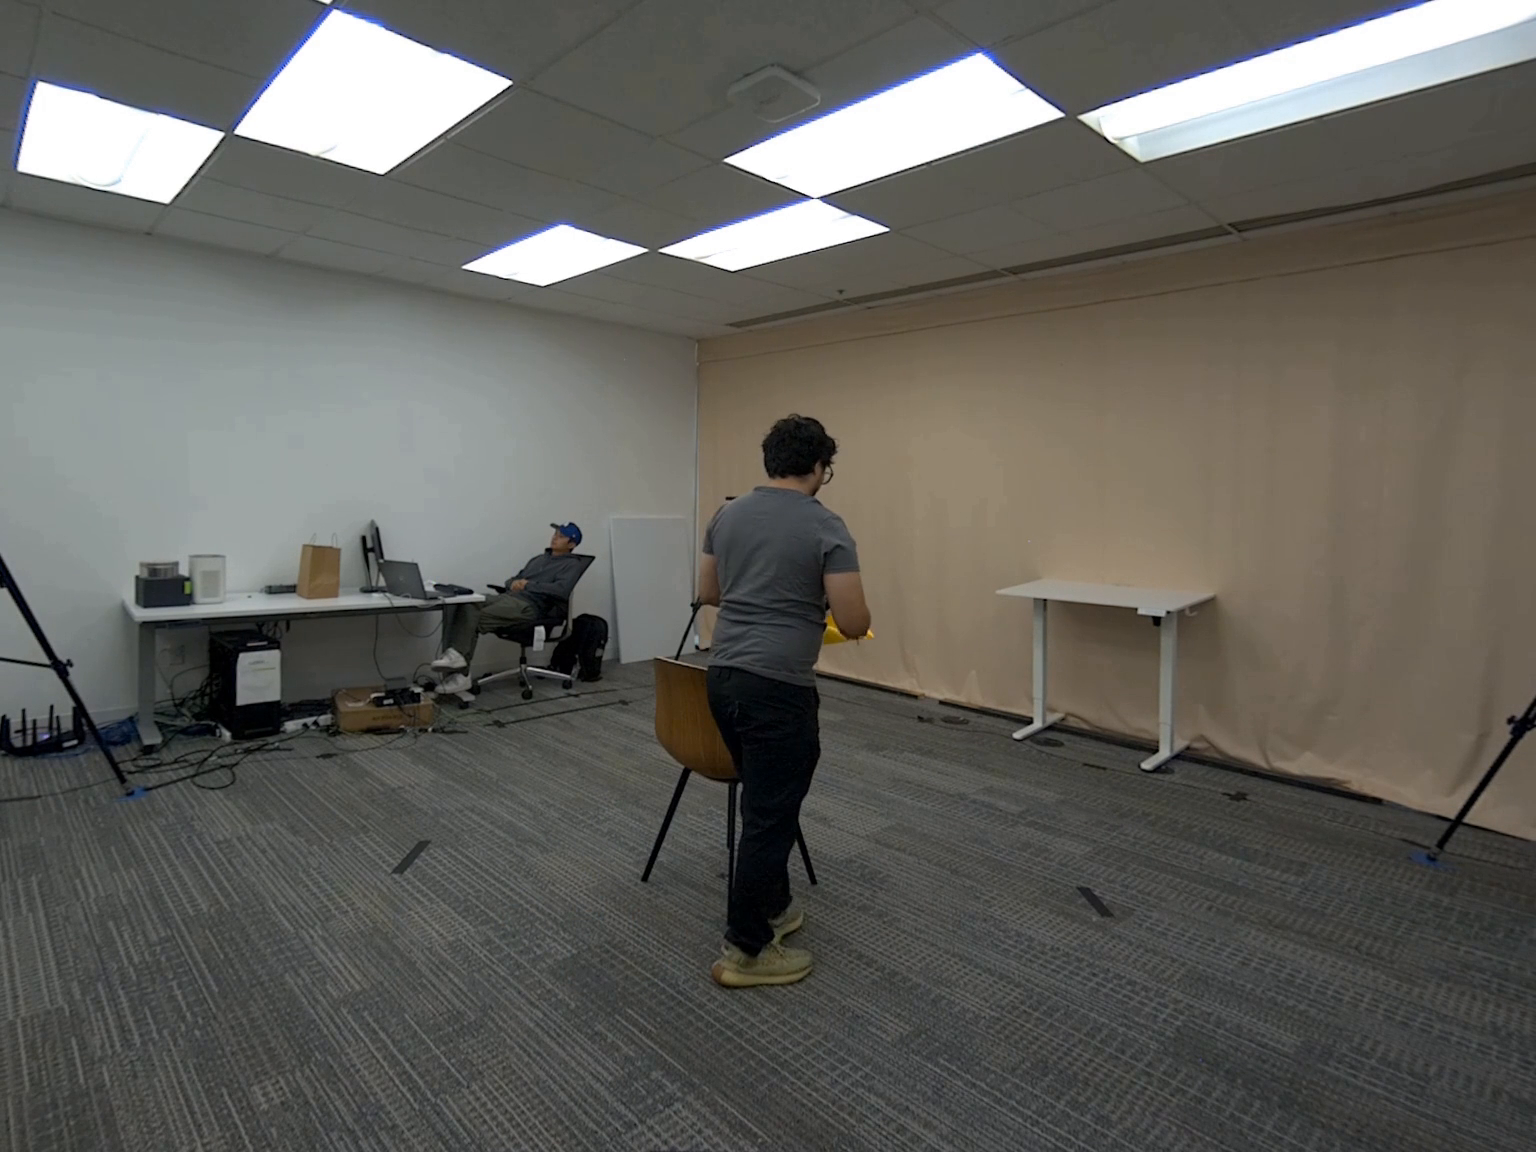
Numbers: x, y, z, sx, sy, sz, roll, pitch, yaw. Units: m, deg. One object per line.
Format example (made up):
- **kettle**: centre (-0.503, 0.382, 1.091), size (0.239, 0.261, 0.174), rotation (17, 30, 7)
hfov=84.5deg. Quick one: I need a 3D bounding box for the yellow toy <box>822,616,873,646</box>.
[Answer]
- **yellow toy**: centre (0.216, 0.109, 2.749), size (0.196, 0.232, 0.200), rotation (-14, -8, 41)
